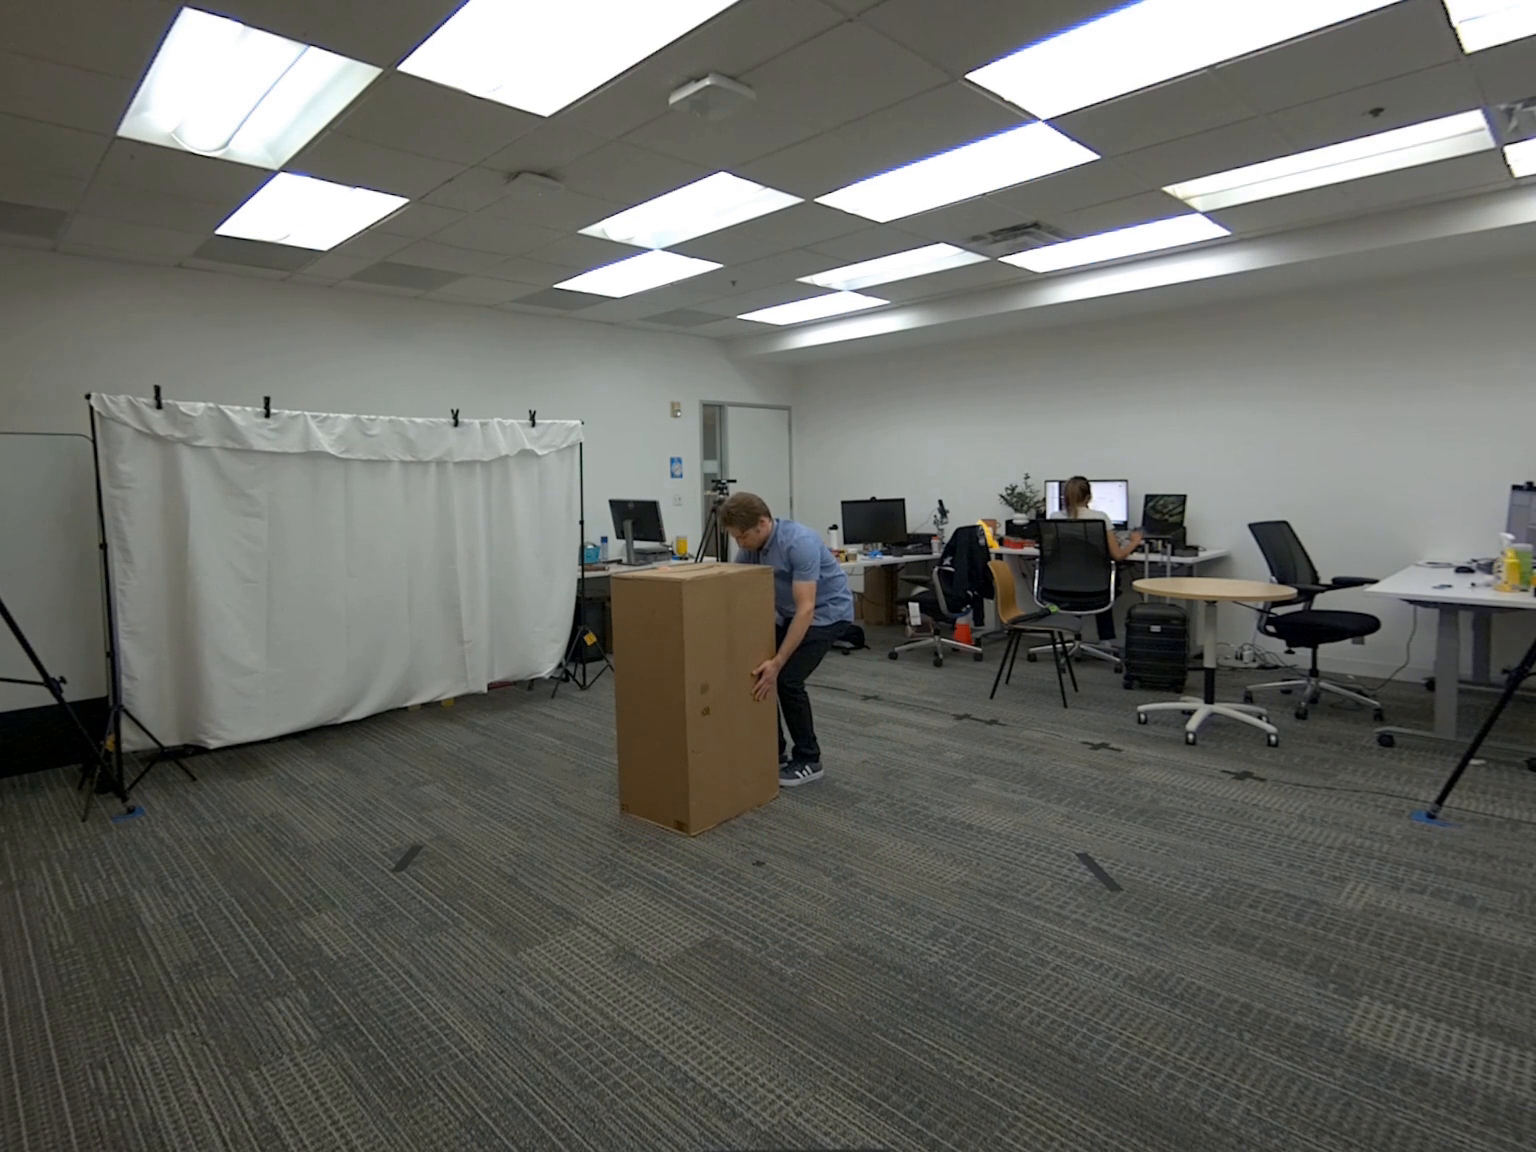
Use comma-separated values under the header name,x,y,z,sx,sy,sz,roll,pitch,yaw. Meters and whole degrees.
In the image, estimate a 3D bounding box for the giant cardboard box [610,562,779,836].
name,x,y,z,sx,sy,sz,roll,pitch,yaw
giant cardboard box,-0.310,0.483,3.661,0.439,1.022,0.562,2,5,41
